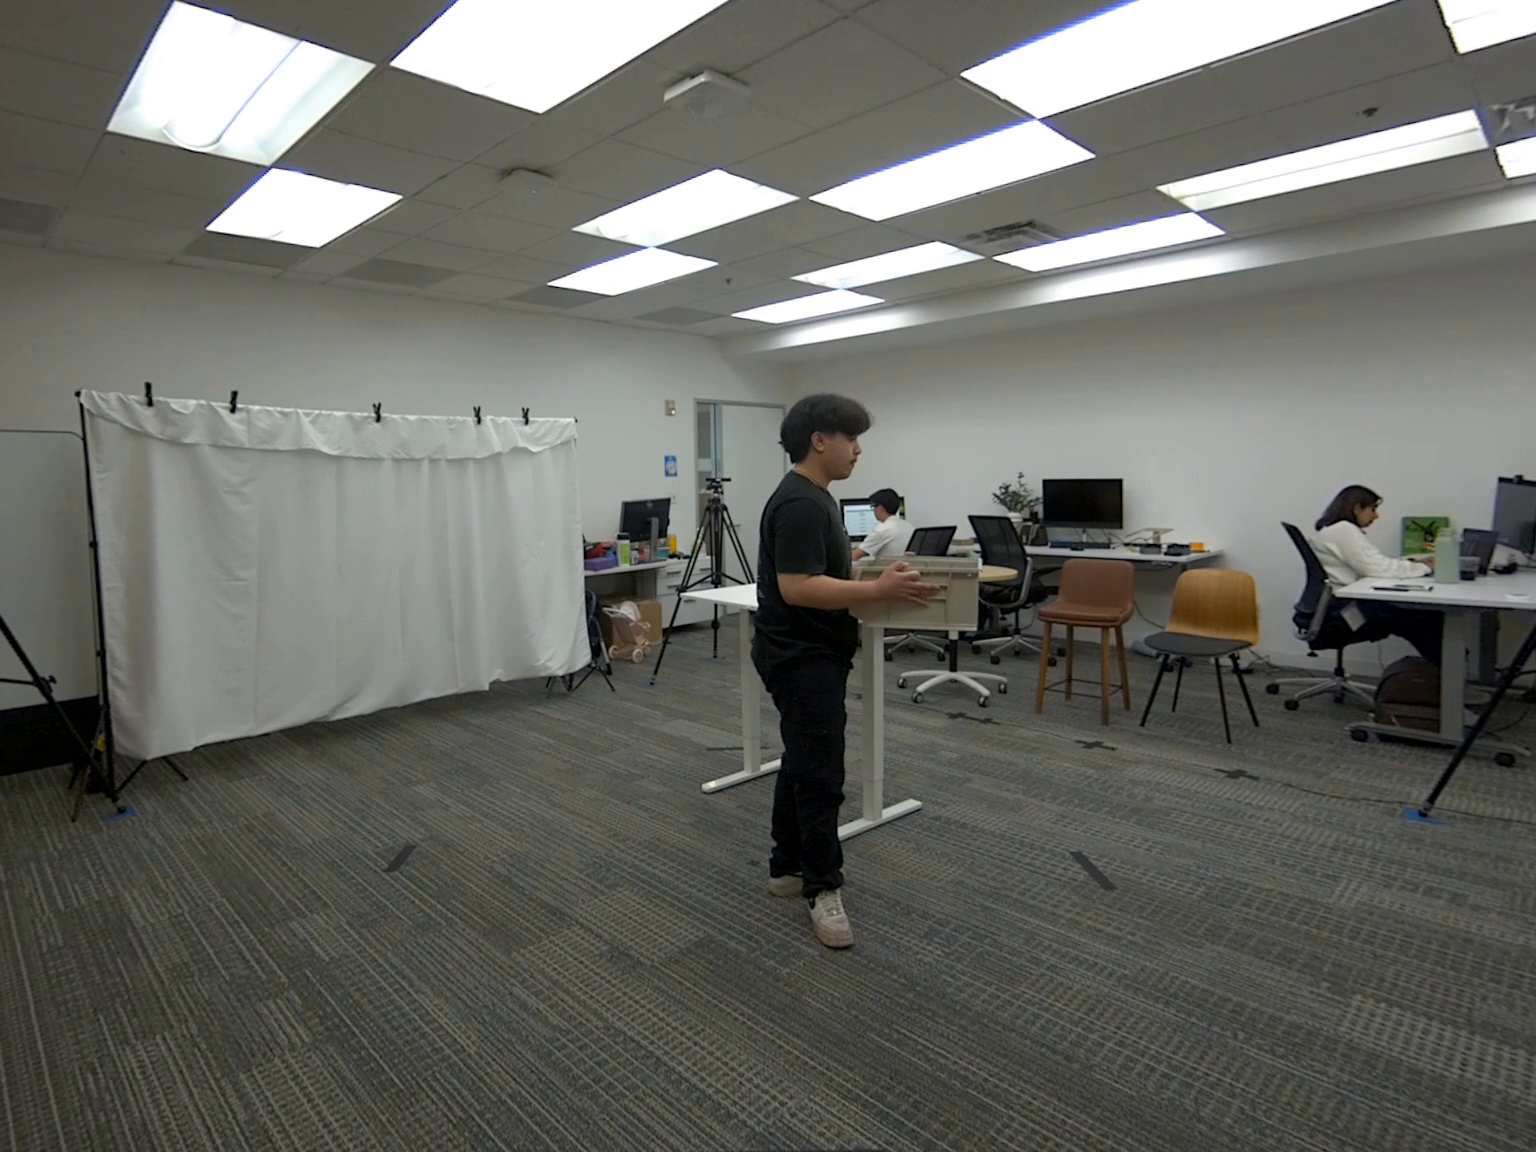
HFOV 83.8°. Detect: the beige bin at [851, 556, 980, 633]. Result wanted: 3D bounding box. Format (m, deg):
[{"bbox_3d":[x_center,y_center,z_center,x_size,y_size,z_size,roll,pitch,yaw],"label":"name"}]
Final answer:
[{"bbox_3d":[0.483,0.053,2.658,0.382,0.188,0.418,3,5,12],"label":"beige bin"}]
